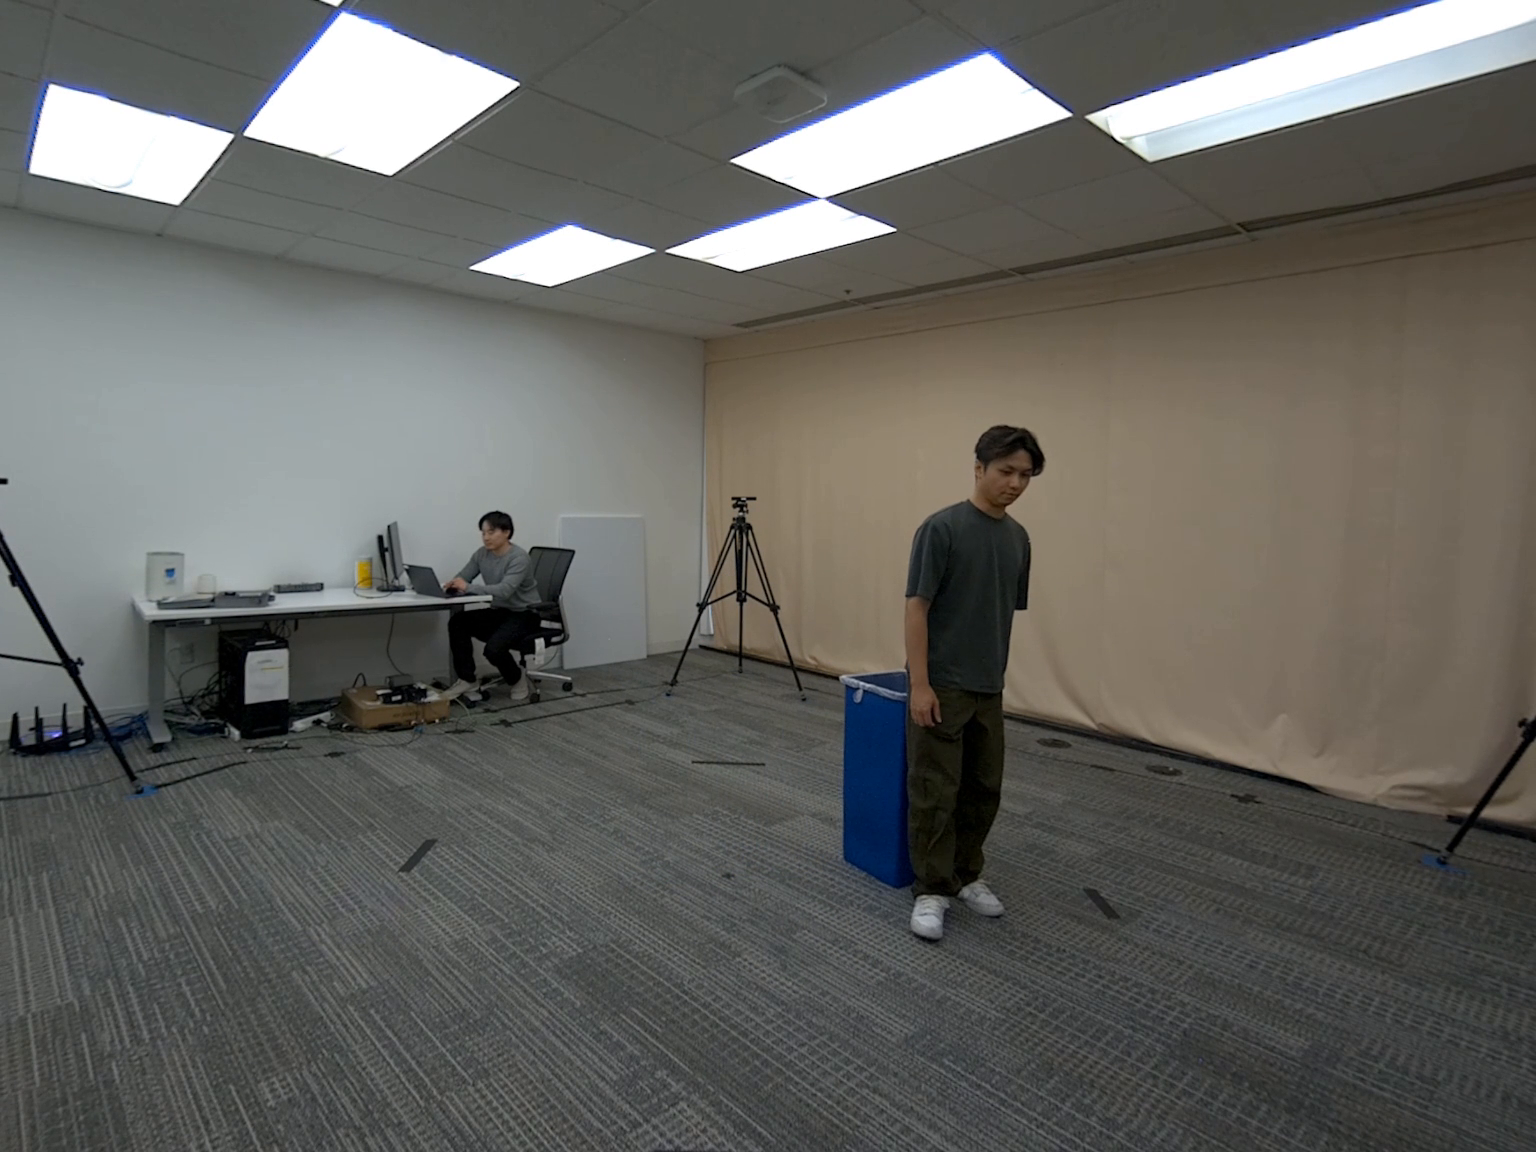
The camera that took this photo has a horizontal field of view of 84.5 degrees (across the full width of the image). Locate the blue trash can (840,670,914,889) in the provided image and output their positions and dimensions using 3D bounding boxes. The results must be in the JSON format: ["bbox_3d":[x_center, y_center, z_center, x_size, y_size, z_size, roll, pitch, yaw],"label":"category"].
[{"bbox_3d":[0.501,0.754,3.225,0.366,0.712,0.387,-1,4,-34],"label":"blue trash can"}]
